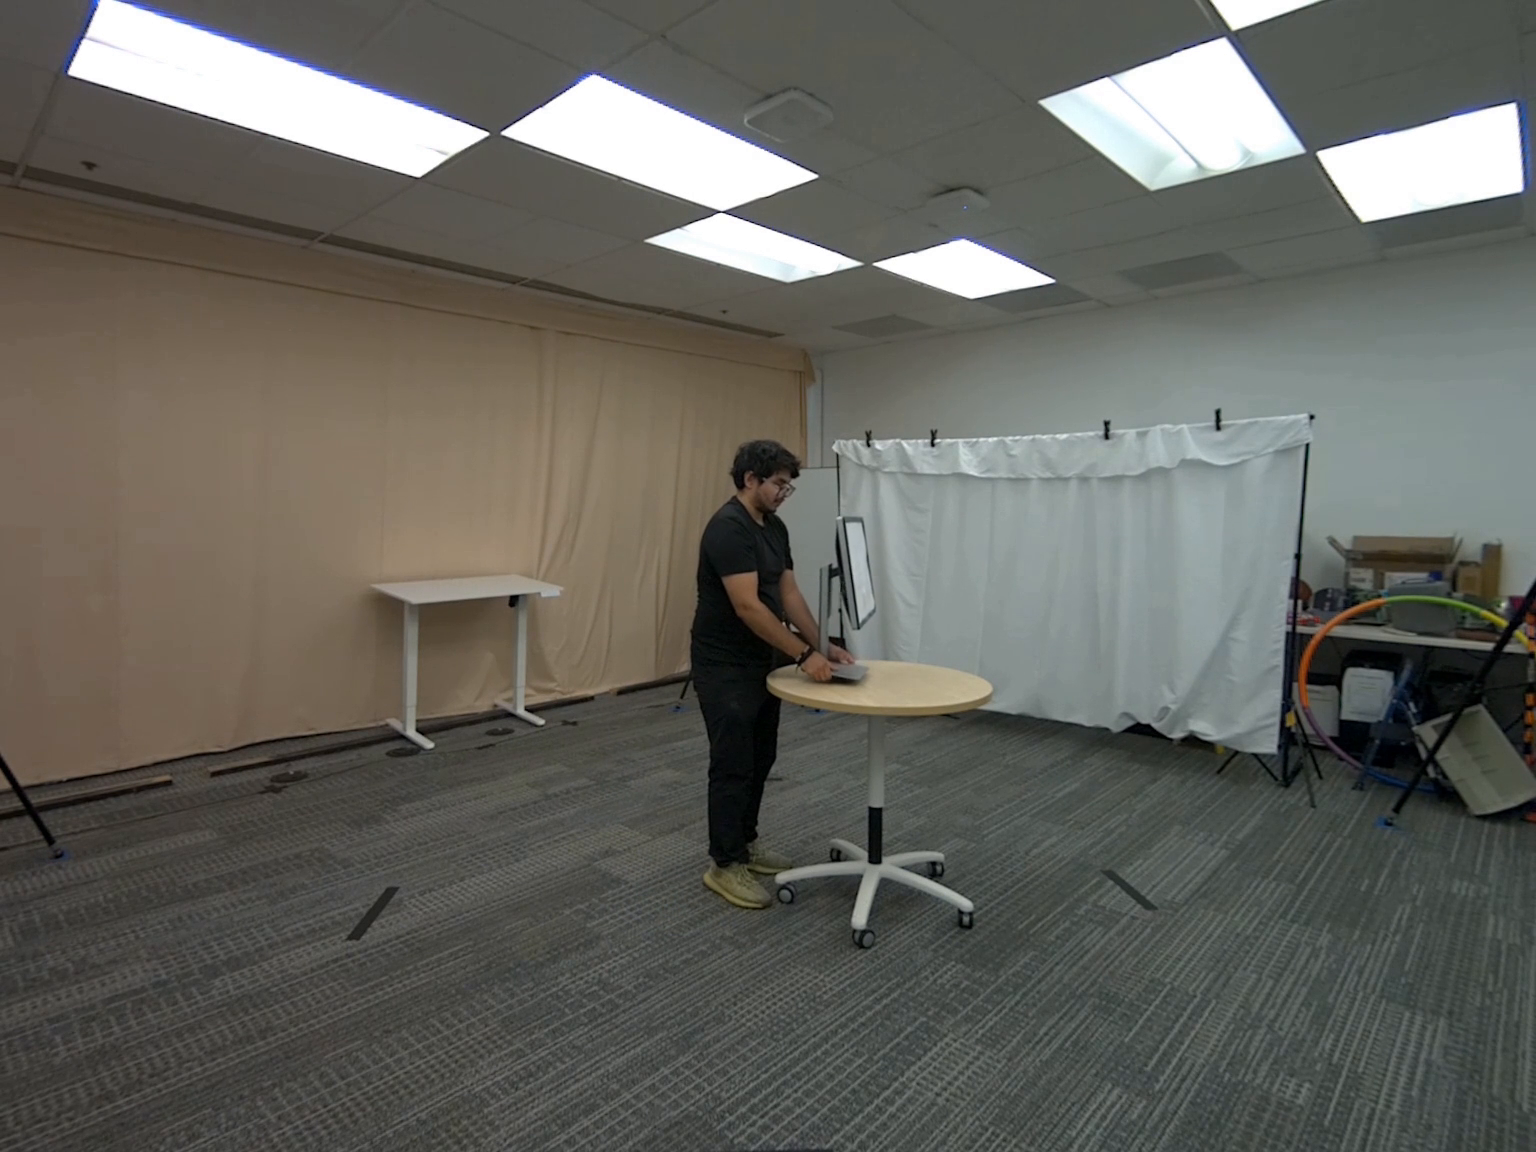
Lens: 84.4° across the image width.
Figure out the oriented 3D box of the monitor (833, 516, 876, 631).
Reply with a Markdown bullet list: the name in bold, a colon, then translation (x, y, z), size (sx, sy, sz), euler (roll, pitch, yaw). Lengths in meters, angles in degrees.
- **monitor**: translation (0.250, 0.066, 2.948), size (0.213, 0.553, 0.557), euler (0, 3, 14)
